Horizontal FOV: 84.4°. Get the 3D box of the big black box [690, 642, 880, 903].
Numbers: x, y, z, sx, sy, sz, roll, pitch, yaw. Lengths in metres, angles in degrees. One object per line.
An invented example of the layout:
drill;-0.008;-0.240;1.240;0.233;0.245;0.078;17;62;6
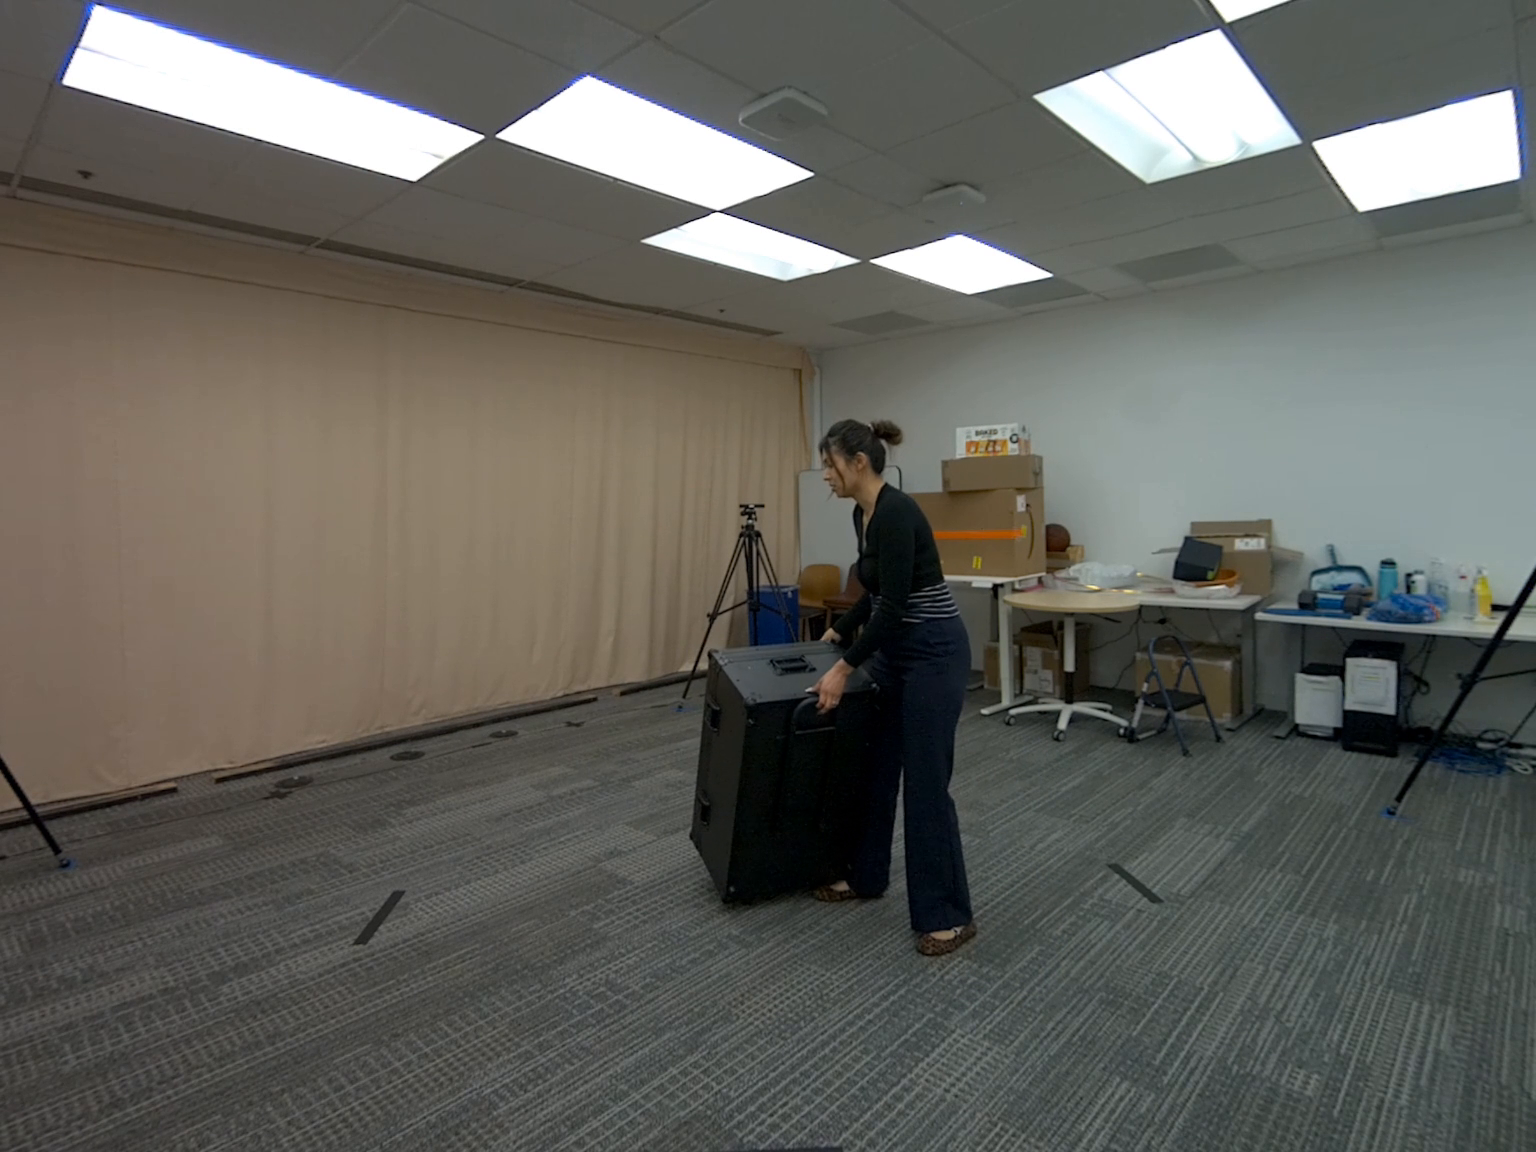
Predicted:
big black box;0.046;0.652;2.919;0.510;0.853;0.409;-2;22;-23
